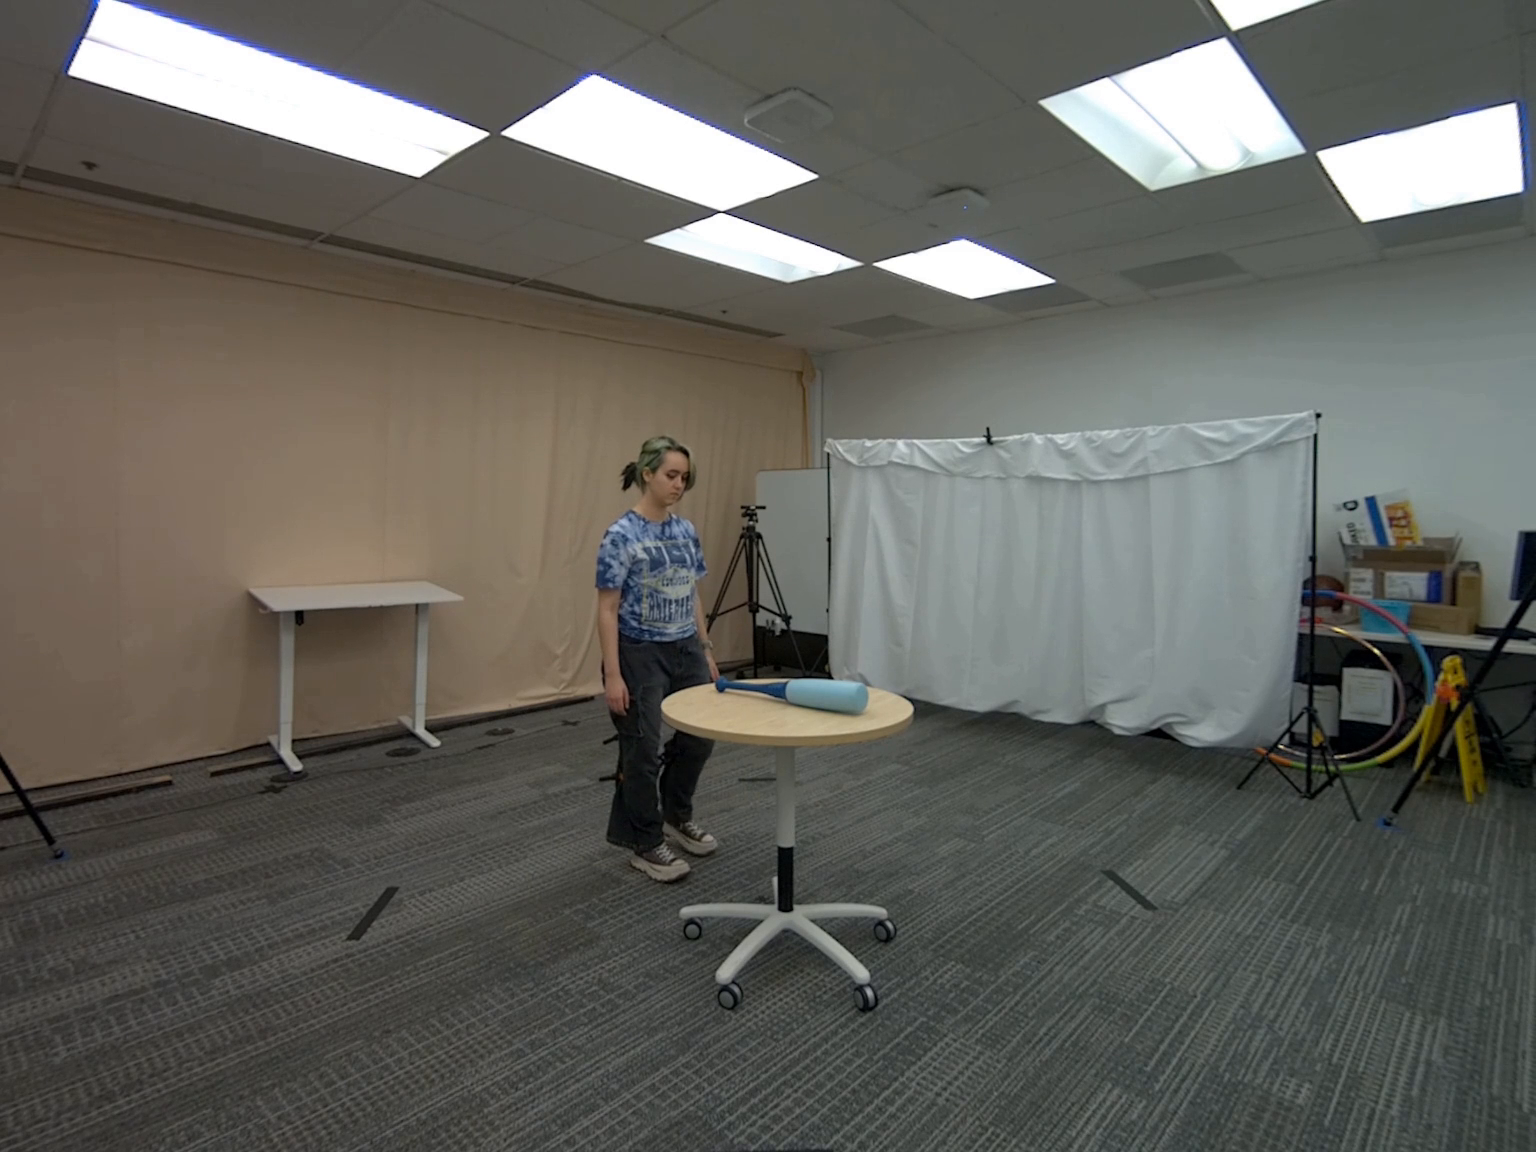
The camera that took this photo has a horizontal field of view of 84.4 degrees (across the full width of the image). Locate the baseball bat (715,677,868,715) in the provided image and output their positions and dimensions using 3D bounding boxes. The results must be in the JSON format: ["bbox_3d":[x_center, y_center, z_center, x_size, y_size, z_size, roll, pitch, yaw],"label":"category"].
[{"bbox_3d":[0.055,0.357,2.589,0.560,0.089,0.086,-1,2,37],"label":"baseball bat"}]
